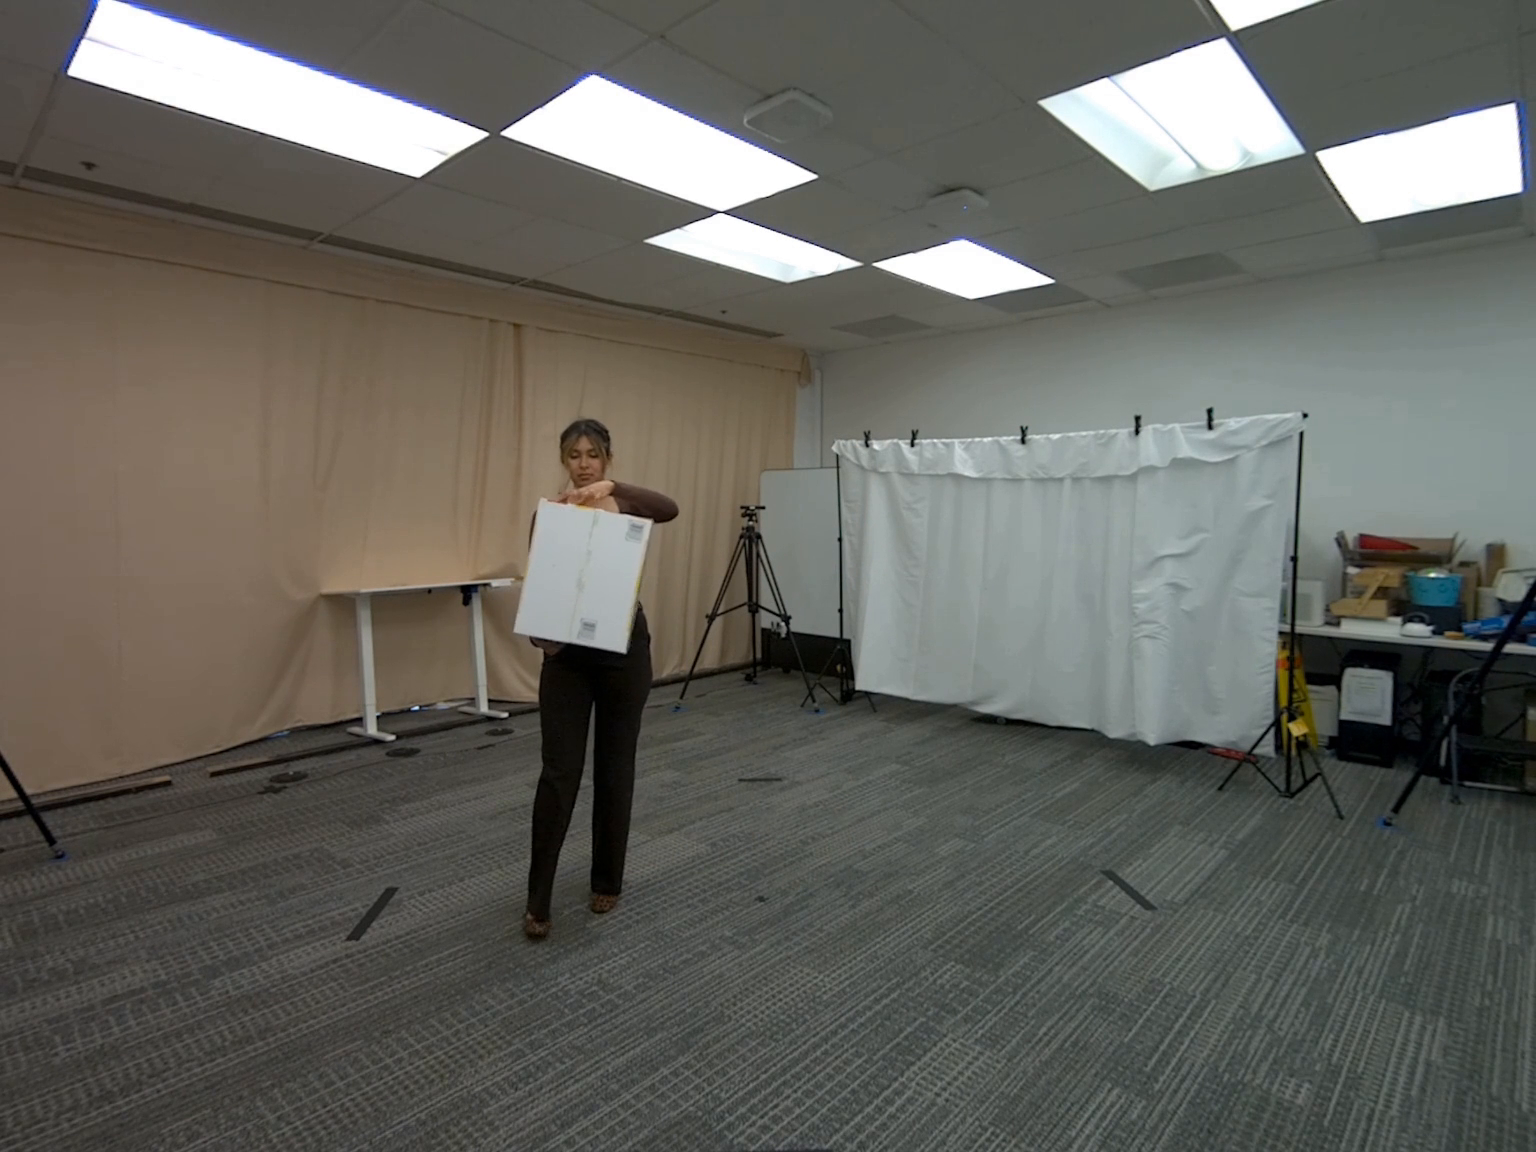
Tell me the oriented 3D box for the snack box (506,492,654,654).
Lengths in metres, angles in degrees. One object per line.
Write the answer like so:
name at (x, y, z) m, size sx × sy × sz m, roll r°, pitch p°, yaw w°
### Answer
snack box at (-0.557, -0.008, 2.541) m, size 0.337 × 0.405 × 0.207 m, roll 13°, pitch -2°, yaw -8°
